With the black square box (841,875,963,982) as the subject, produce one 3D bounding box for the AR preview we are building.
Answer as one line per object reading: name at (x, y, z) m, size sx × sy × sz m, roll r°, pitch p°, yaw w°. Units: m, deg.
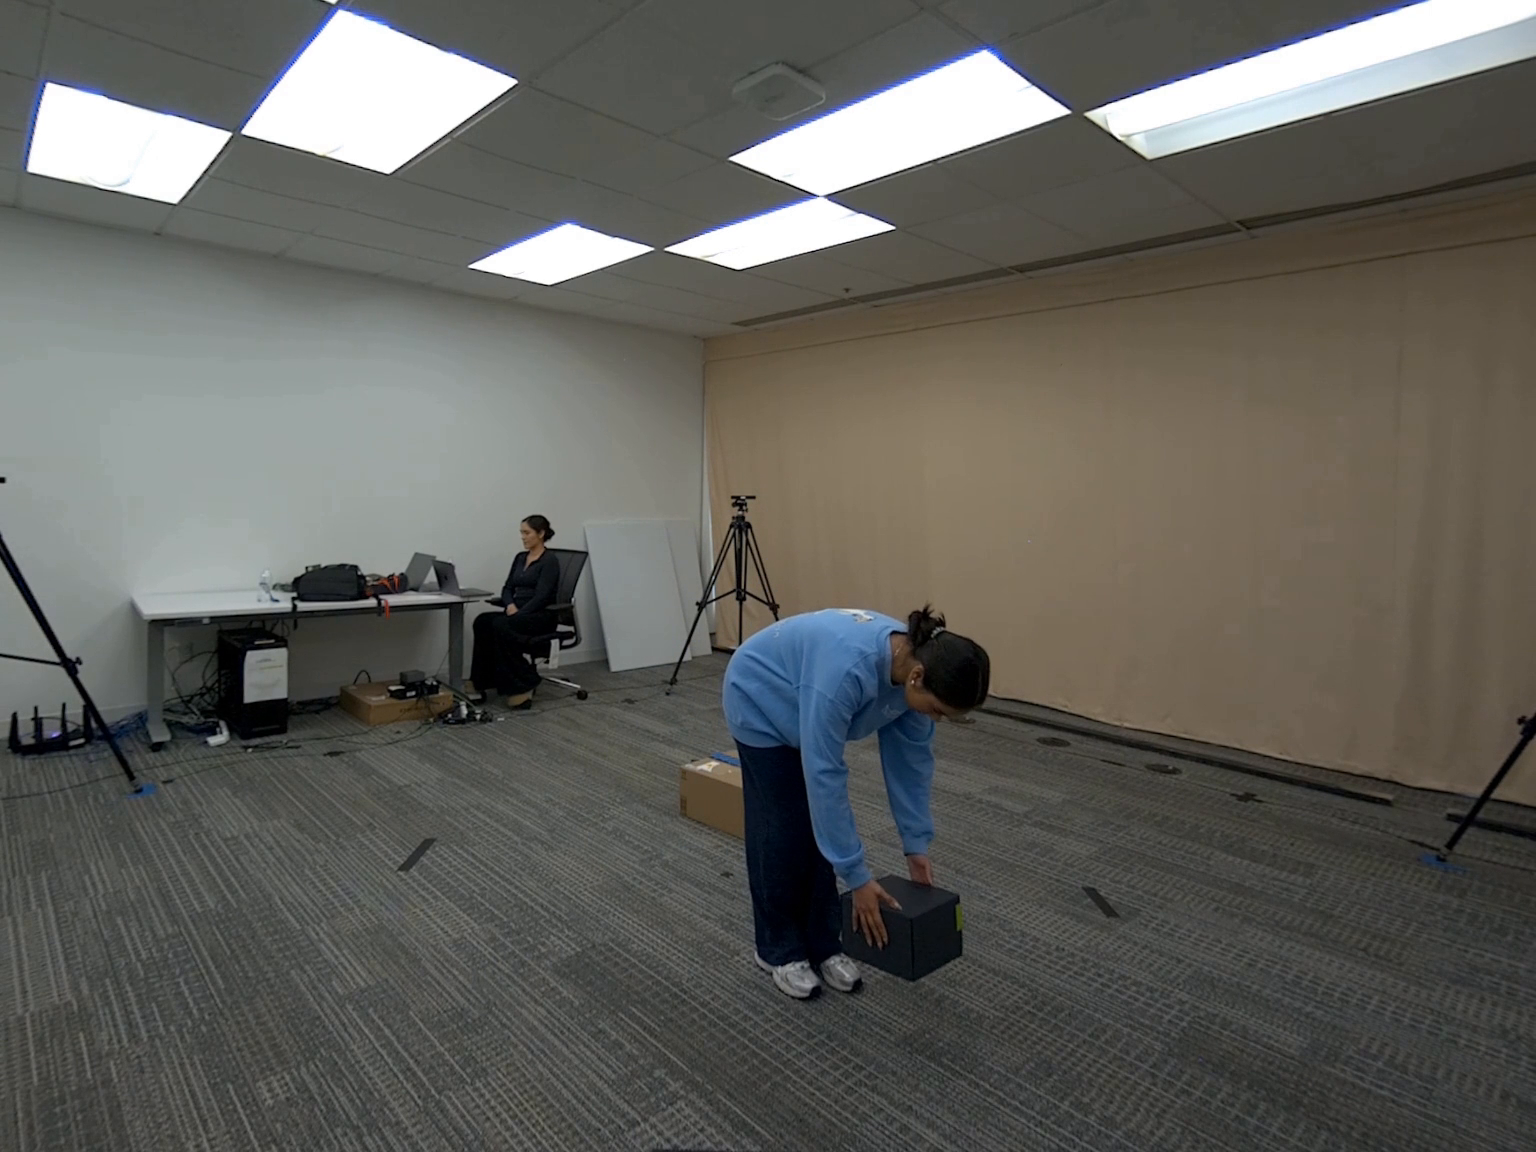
black square box at (0.335, 0.914, 2.177) m, size 0.212 × 0.156 × 0.233 m, roll -1°, pitch -1°, yaw -43°
